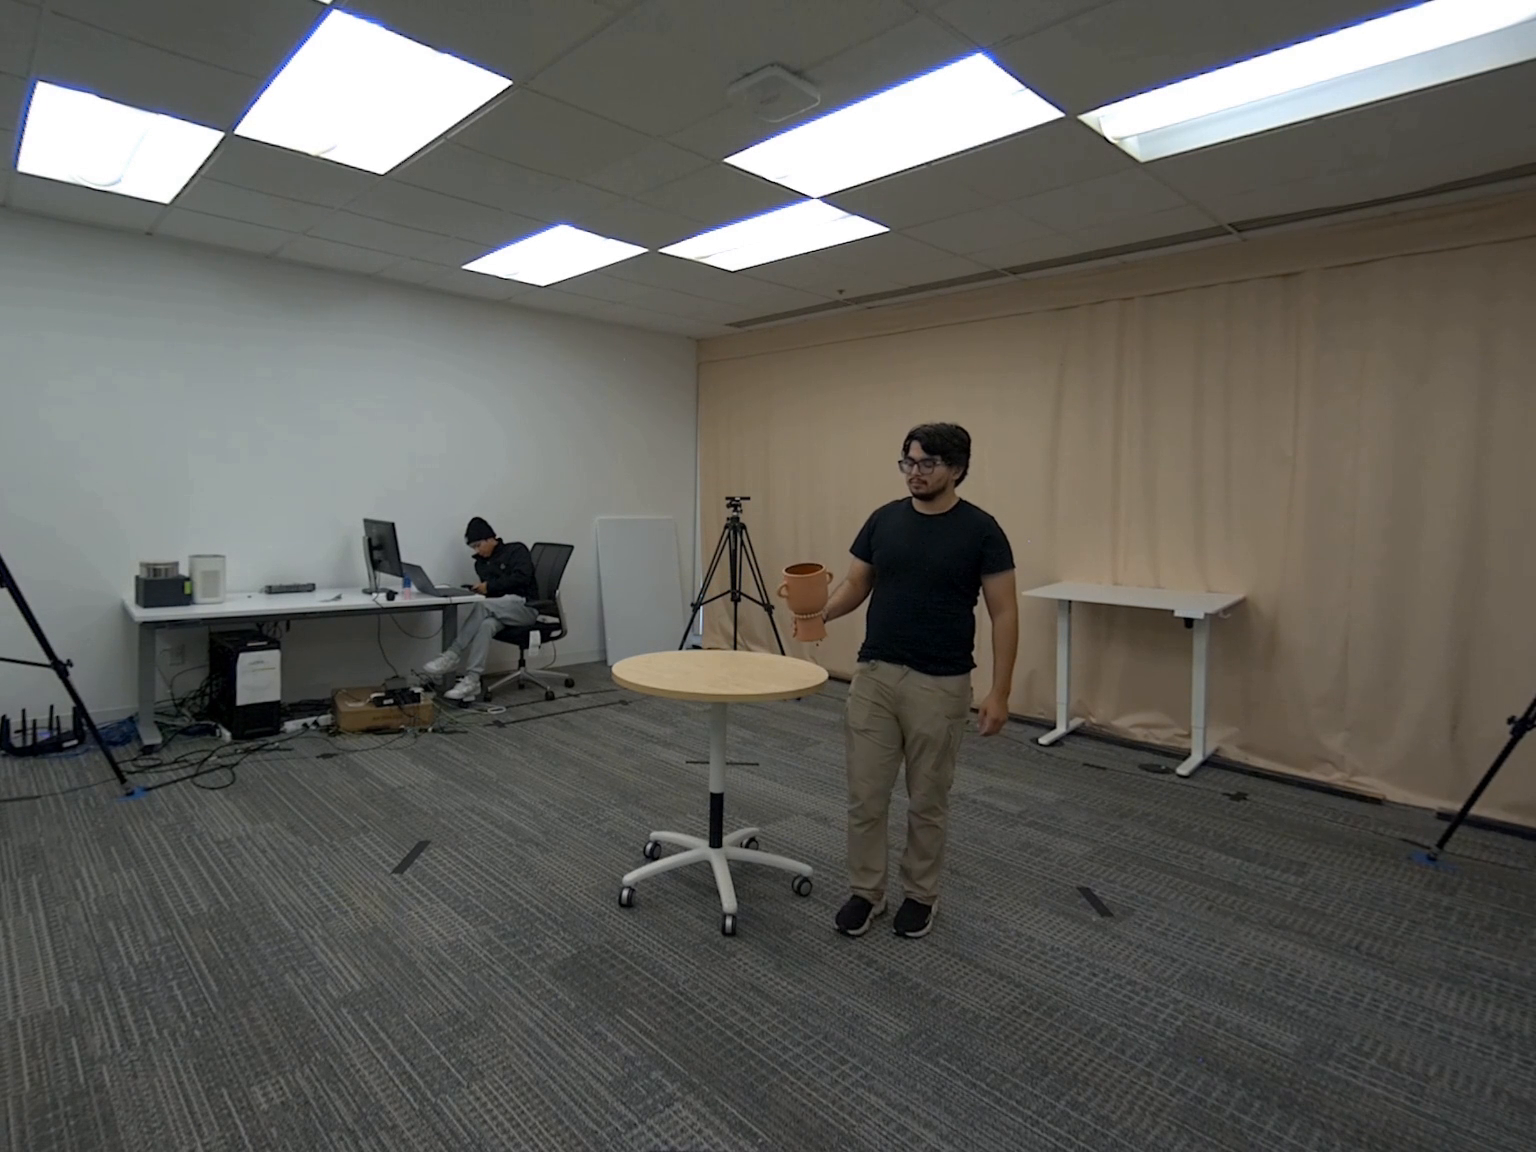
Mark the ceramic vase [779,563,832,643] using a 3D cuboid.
[{"bbox_3d":[0.118,0.085,2.576,0.160,0.217,0.135,-3,16,13],"label":"ceramic vase"}]
